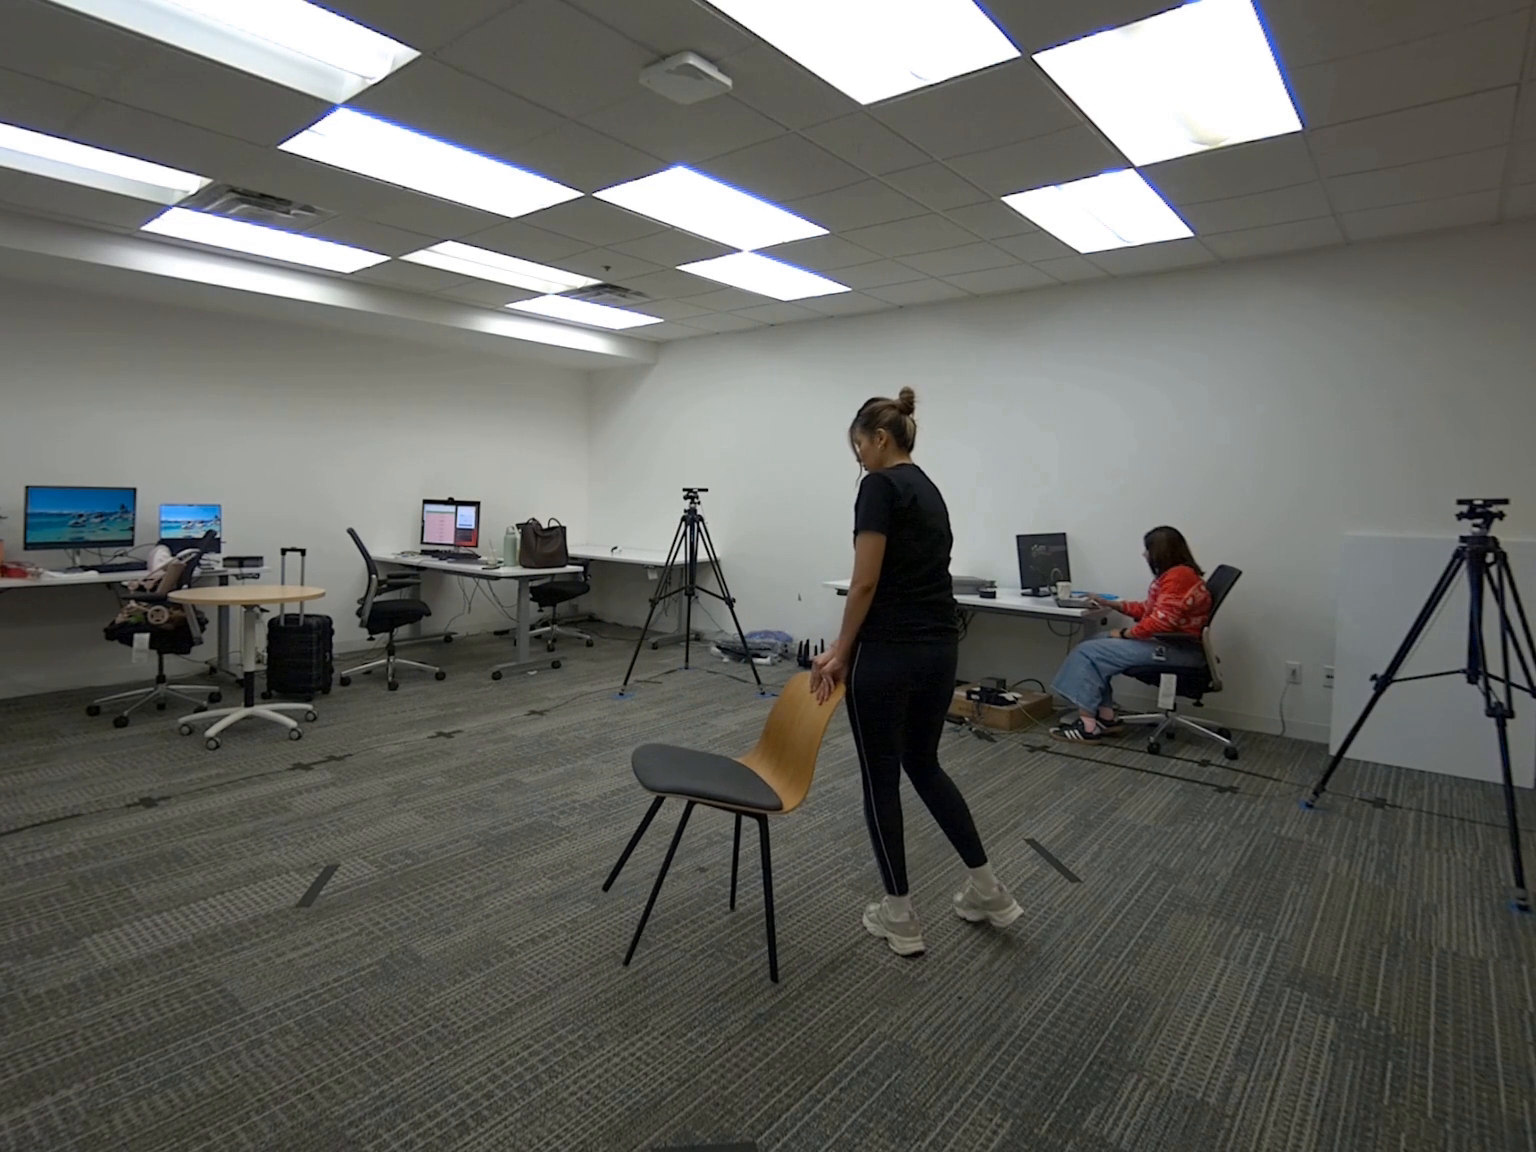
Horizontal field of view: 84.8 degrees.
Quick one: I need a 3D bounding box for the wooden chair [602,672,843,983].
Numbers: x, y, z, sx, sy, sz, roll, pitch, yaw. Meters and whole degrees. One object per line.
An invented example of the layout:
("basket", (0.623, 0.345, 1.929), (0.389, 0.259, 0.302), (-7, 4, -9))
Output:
("wooden chair", (-0.158, 0.658, 2.554), (0.512, 0.878, 0.488), (19, -2, -18))
